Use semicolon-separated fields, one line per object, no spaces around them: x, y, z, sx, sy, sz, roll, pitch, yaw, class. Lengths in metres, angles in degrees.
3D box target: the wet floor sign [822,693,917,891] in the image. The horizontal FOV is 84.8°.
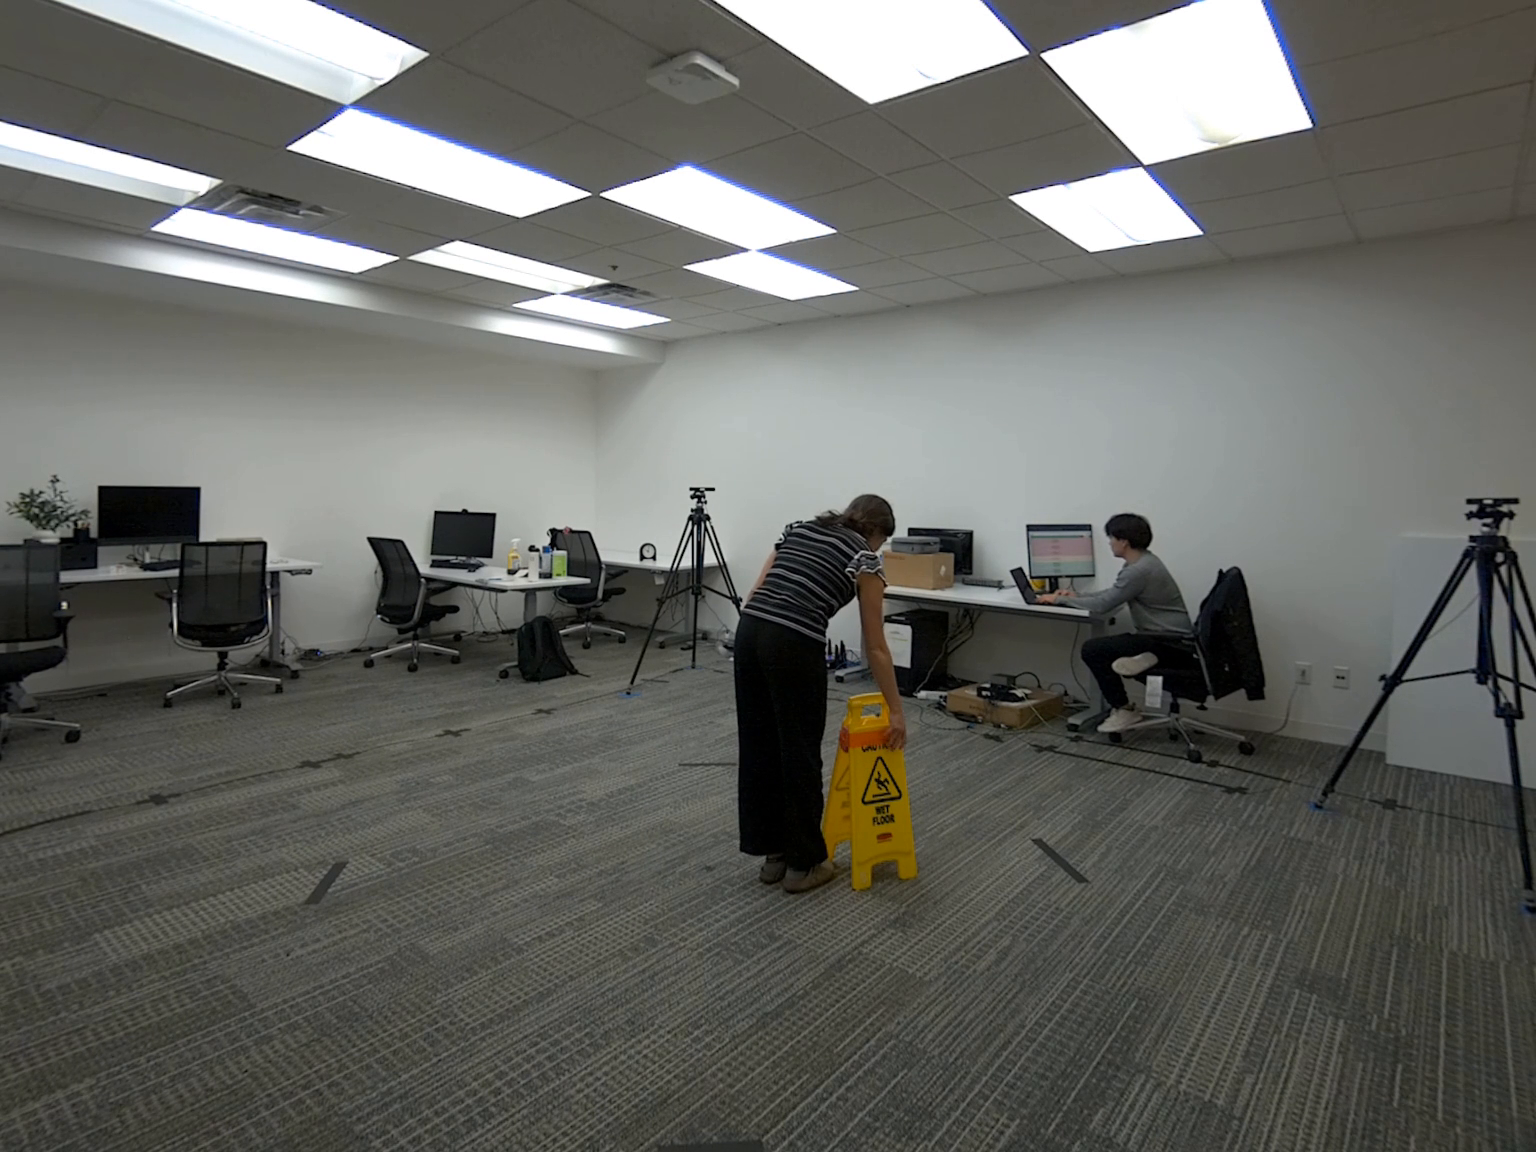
0.363;0.757;3.112;0.275;0.643;0.298;0;5;-28;wet floor sign
